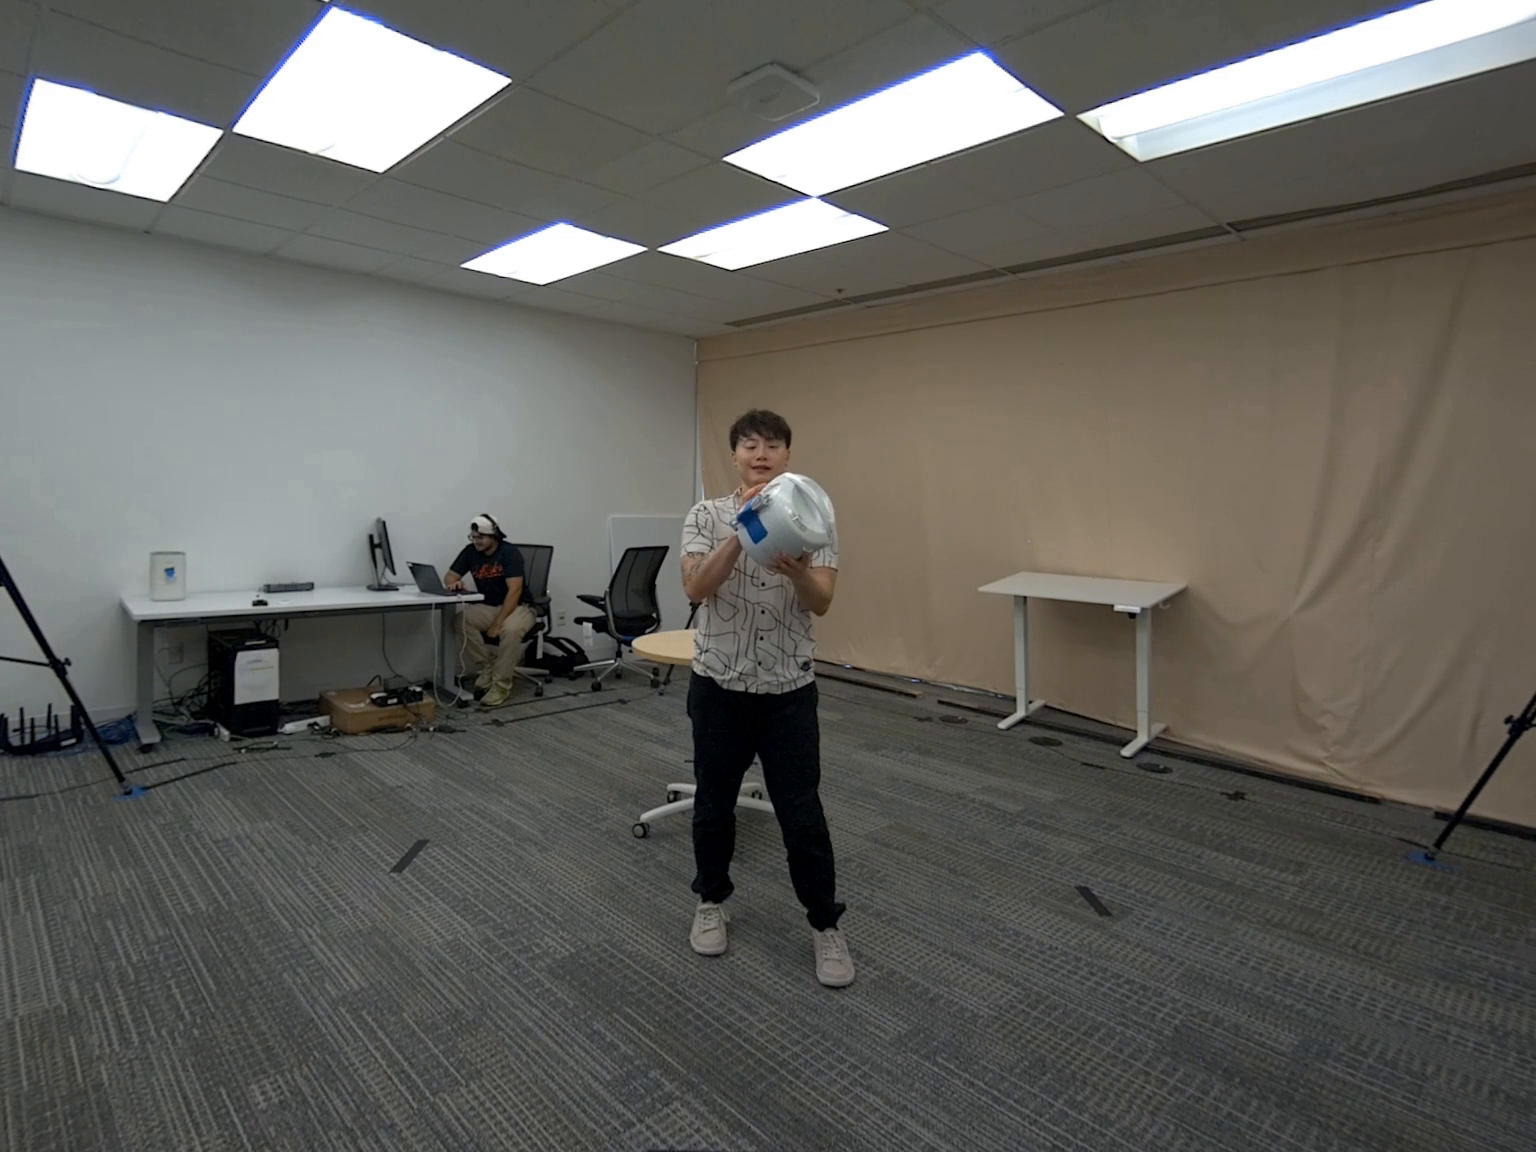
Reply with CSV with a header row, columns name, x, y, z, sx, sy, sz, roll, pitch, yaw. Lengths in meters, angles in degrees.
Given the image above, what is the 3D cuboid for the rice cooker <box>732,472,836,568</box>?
name,x,y,z,sx,sy,sz,roll,pitch,yaw
rice cooker,0.049,-0.149,2.218,0.235,0.219,0.216,-28,8,41
